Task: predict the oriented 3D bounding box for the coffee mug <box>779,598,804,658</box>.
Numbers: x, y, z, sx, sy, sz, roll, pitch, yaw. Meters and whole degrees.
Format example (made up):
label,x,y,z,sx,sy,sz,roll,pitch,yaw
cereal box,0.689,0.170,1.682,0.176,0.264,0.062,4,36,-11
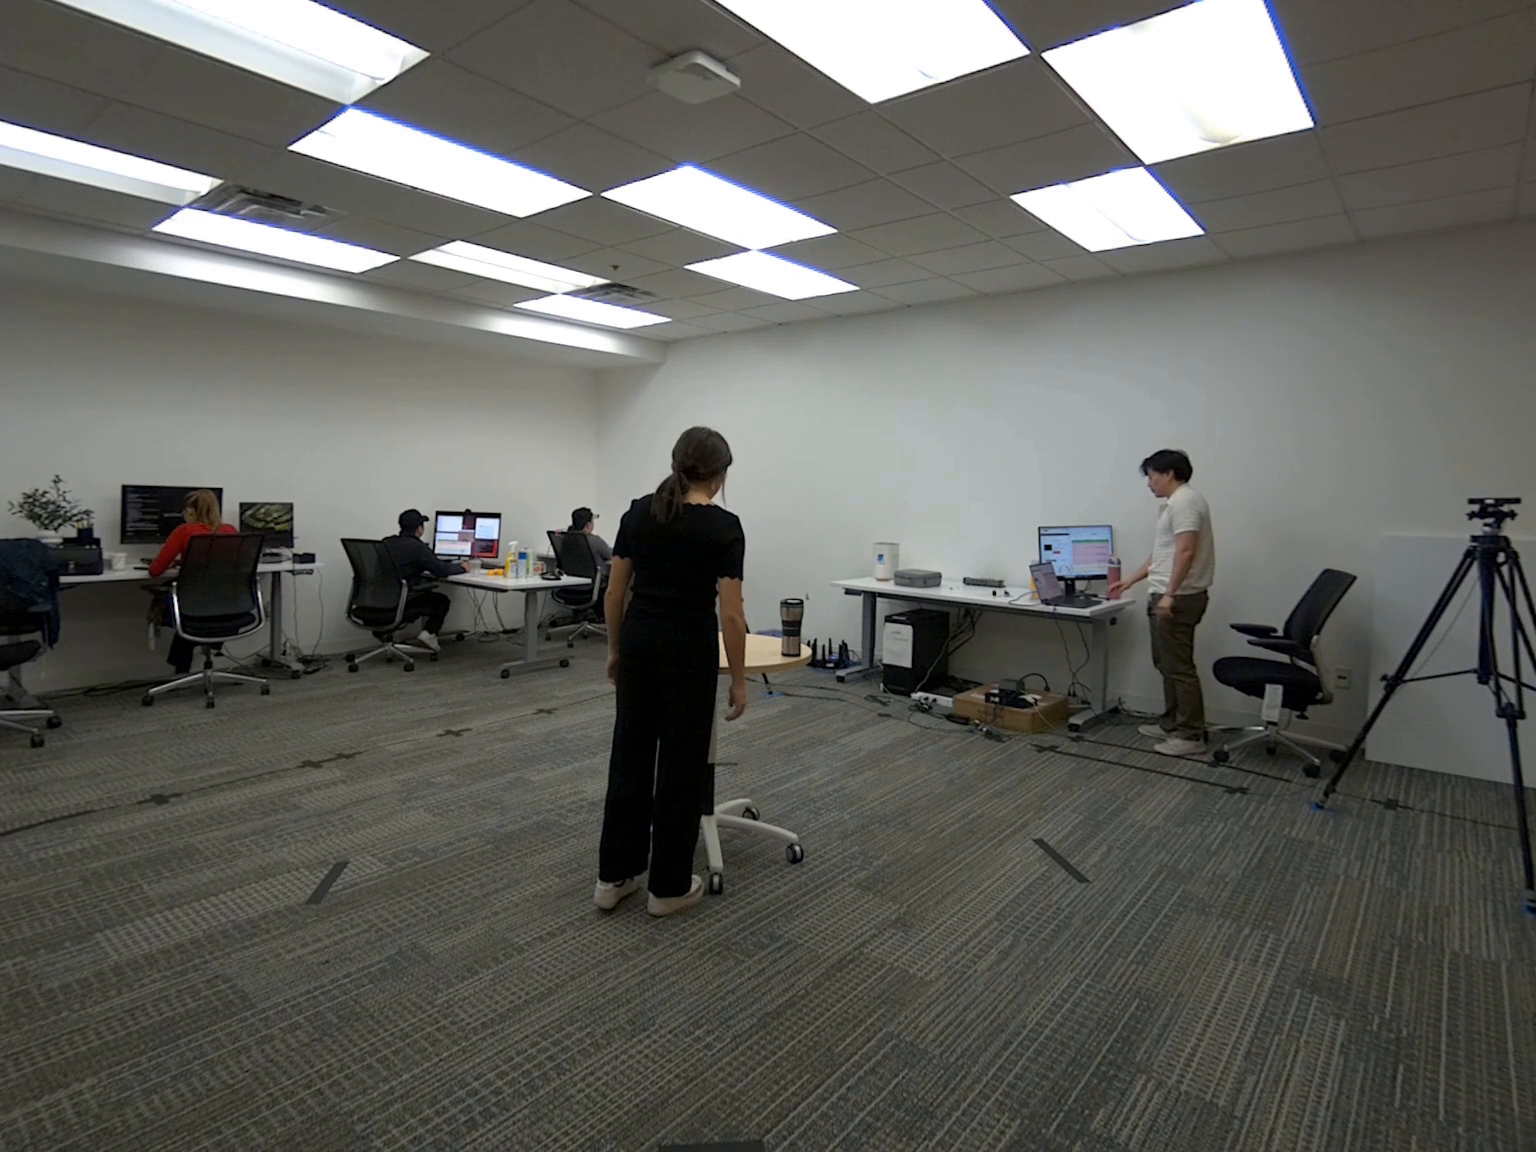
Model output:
label,x,y,z,sx,sy,sz,roll,pitch,yaw
coffee mug,0.080,0.185,3.123,0.090,0.202,0.120,0,5,23
